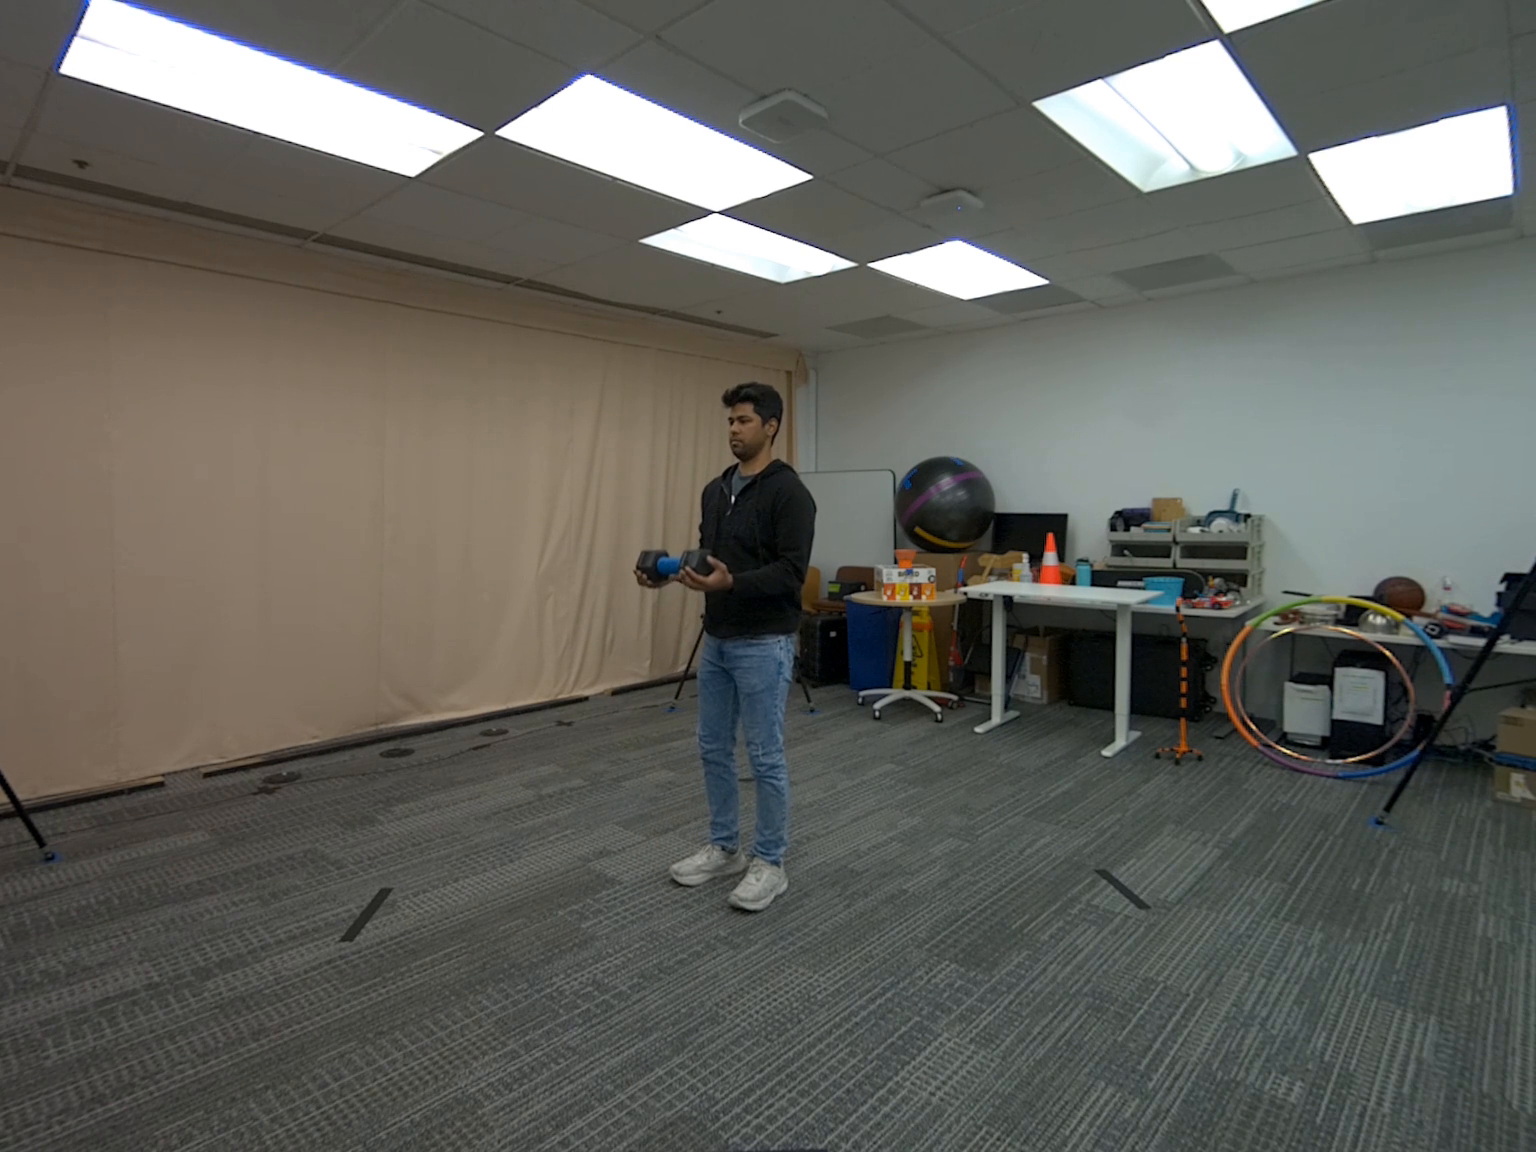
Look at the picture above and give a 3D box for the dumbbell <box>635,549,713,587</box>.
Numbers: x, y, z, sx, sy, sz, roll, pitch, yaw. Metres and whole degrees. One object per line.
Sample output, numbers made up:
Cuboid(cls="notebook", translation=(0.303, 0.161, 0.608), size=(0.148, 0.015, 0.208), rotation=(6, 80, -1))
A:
Cuboid(cls="dumbbell", translation=(-0.296, -0.028, 2.837), size=(0.303, 0.123, 0.105), rotation=(2, -27, 43))
